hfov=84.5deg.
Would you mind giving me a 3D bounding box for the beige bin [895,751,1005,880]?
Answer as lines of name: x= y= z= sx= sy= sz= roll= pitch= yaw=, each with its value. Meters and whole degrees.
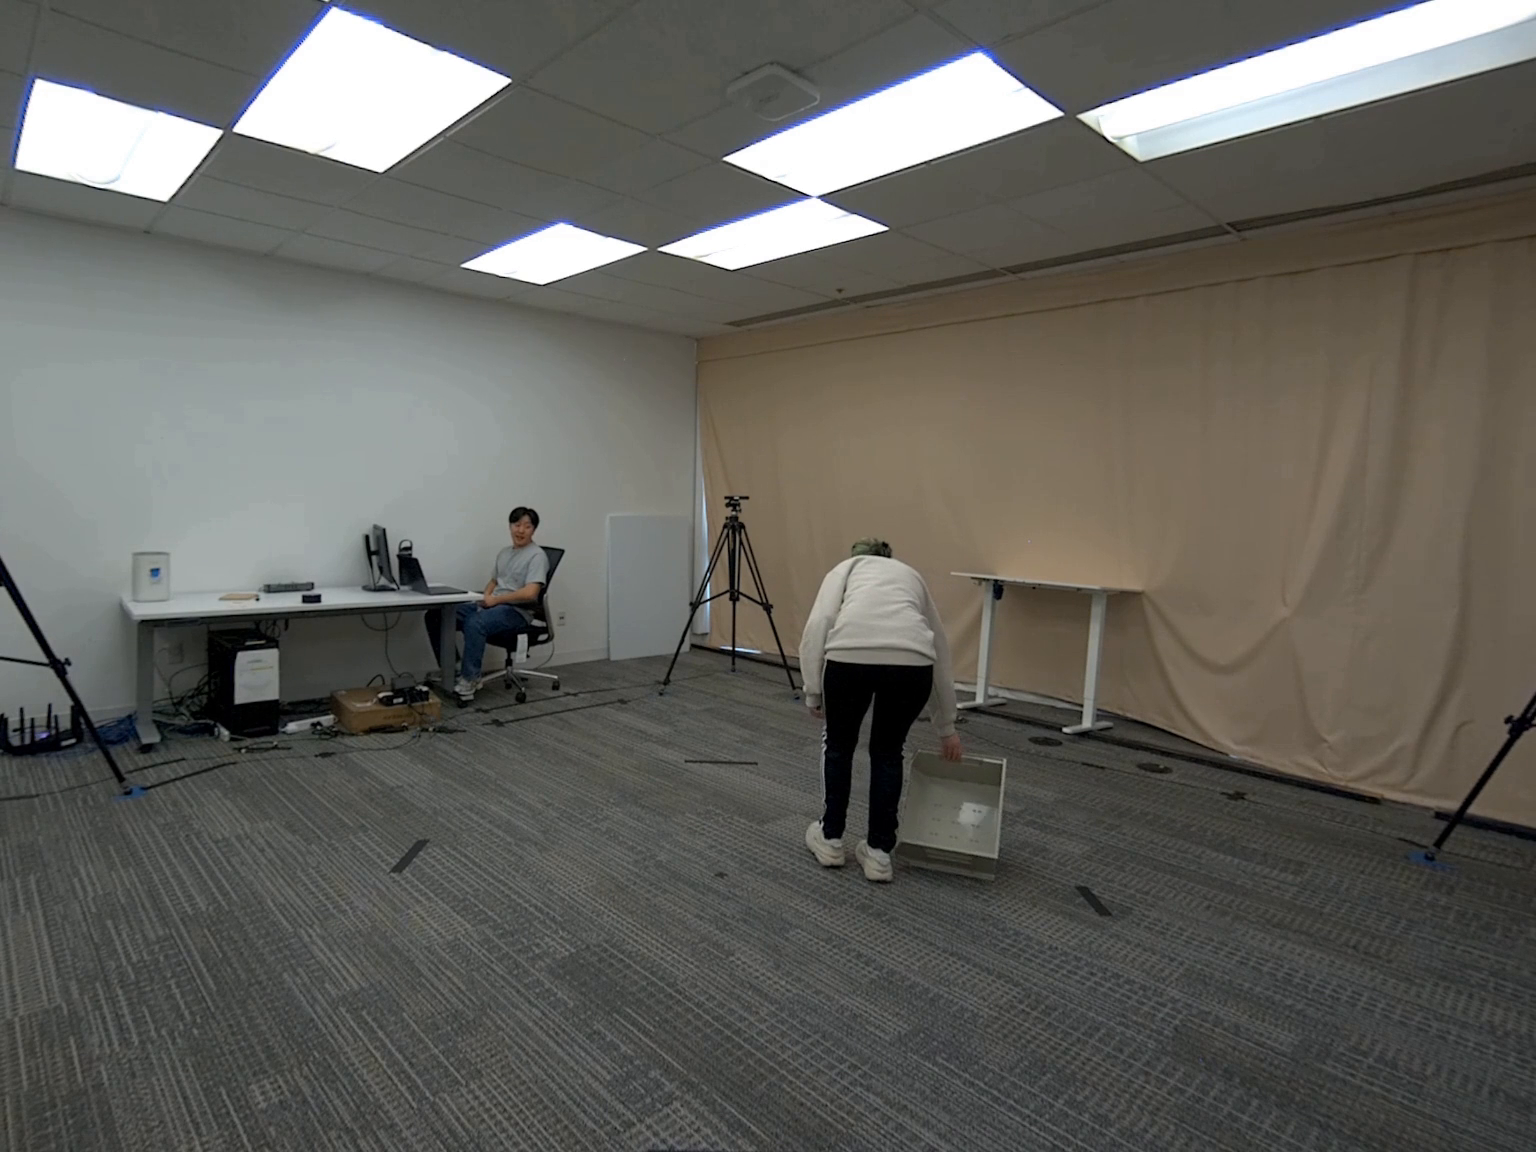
beige bin: x=0.703 y=0.908 z=3.261 sx=0.383 sy=0.184 sz=0.427 roll=3 pitch=44 yaw=19
